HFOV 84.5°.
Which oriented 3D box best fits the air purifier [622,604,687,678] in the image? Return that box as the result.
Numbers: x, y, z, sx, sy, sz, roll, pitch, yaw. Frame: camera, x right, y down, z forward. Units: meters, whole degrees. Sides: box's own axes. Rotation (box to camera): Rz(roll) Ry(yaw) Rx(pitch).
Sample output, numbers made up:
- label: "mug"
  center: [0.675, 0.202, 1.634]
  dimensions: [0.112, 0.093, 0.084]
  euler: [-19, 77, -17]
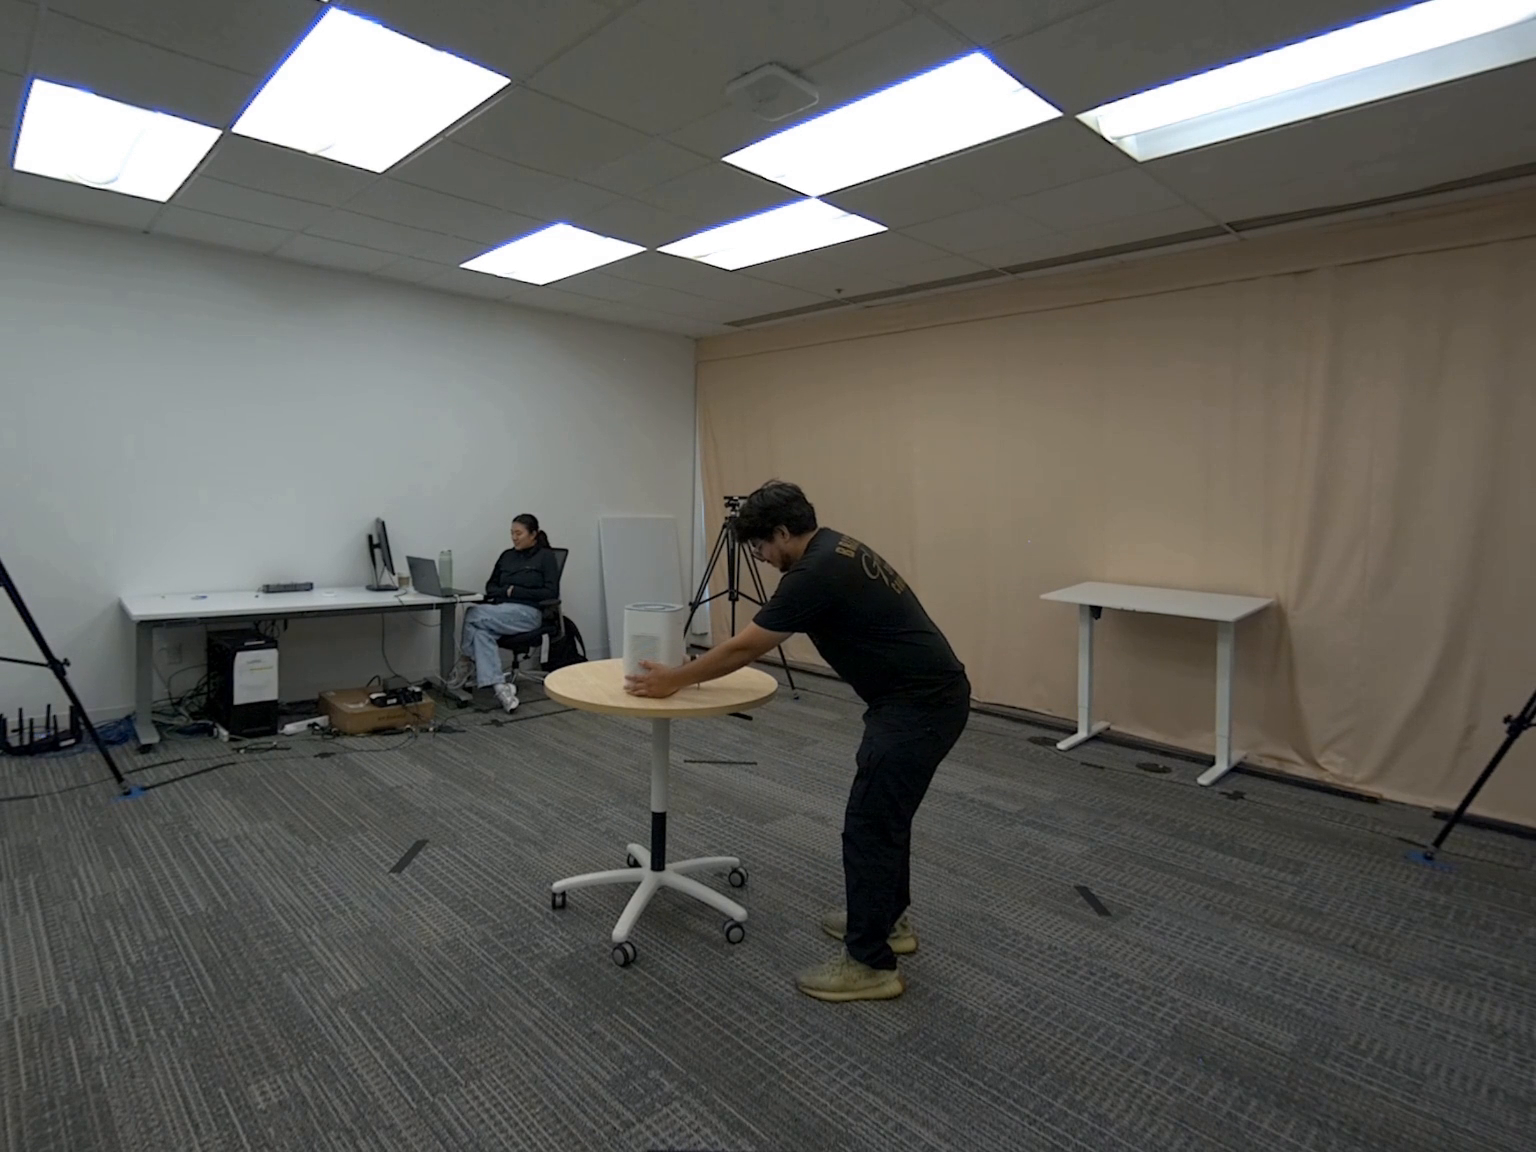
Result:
- label: "air purifier"
  center: [-0.356, 0.224, 2.633]
  dimensions: [0.173, 0.264, 0.170]
  euler: [2, 4, 13]
